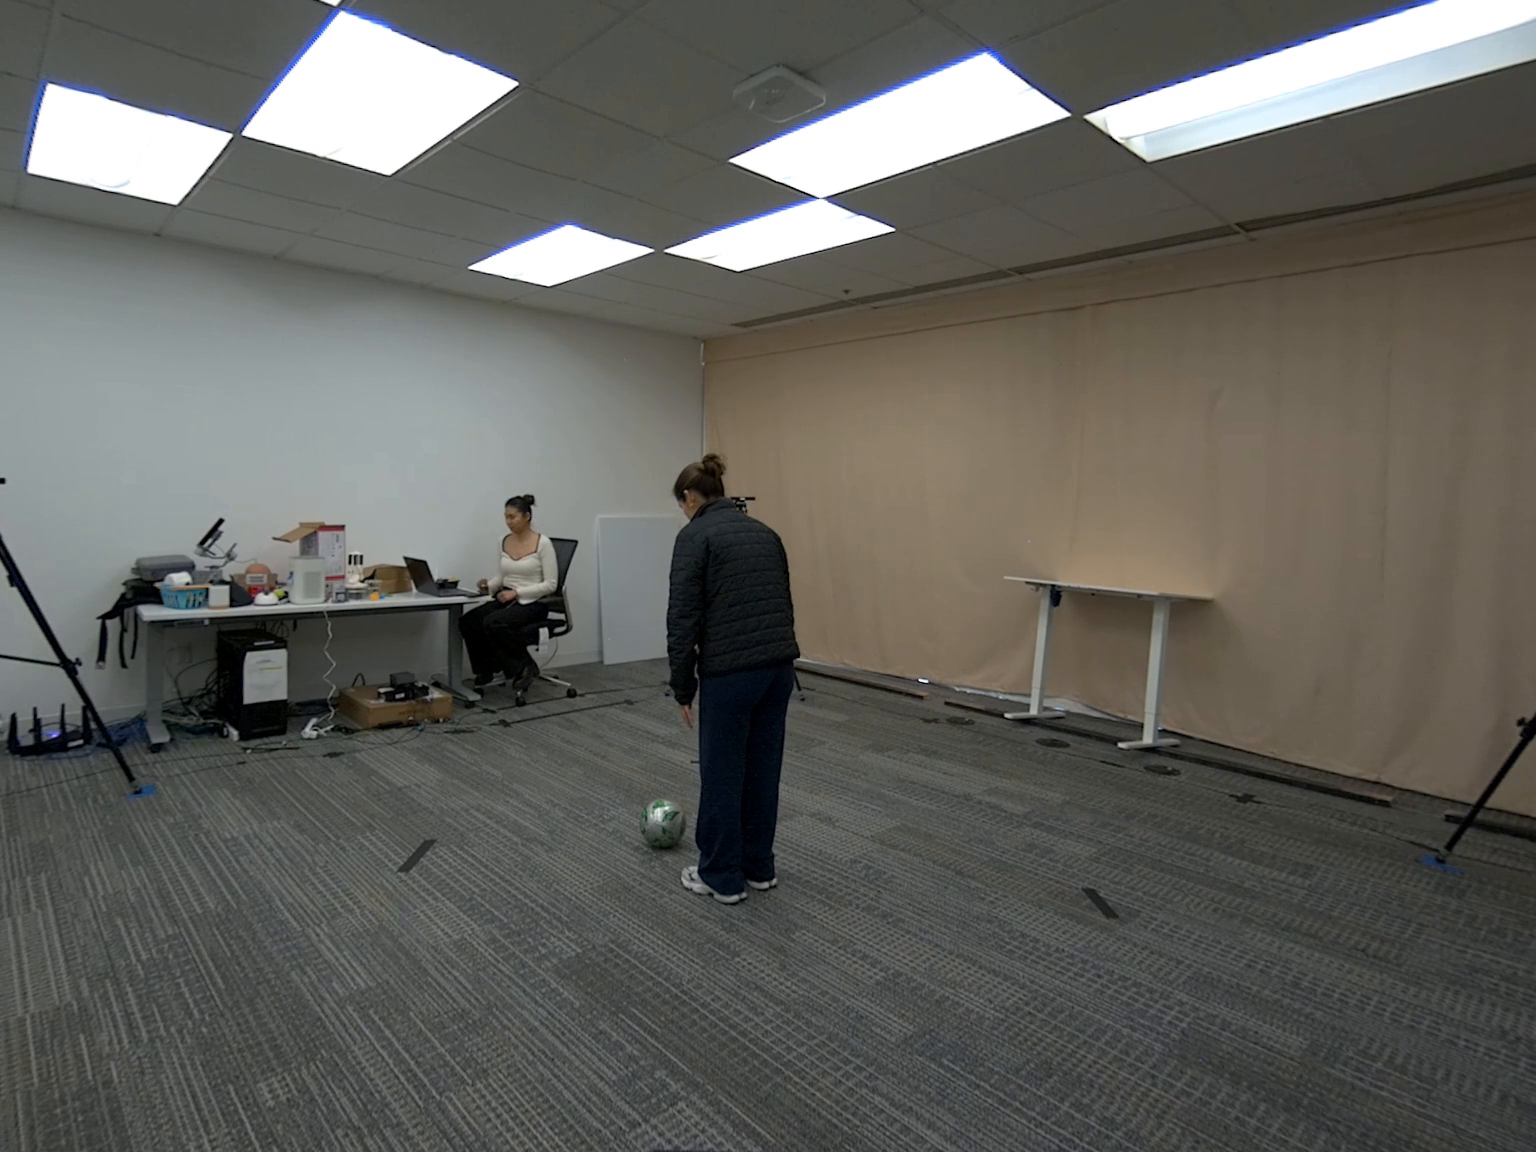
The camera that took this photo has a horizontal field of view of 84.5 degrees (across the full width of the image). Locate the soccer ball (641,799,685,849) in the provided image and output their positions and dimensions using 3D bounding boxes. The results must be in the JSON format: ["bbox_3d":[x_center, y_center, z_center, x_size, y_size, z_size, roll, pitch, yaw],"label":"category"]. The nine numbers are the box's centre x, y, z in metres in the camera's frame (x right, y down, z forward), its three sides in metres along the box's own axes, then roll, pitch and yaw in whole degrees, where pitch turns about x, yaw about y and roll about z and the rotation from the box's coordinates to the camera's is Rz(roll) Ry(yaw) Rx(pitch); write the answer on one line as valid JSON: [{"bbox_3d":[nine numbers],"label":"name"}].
[{"bbox_3d":[-0.427,0.985,3.353,0.187,0.187,0.188,1,4,-1],"label":"soccer ball"}]
